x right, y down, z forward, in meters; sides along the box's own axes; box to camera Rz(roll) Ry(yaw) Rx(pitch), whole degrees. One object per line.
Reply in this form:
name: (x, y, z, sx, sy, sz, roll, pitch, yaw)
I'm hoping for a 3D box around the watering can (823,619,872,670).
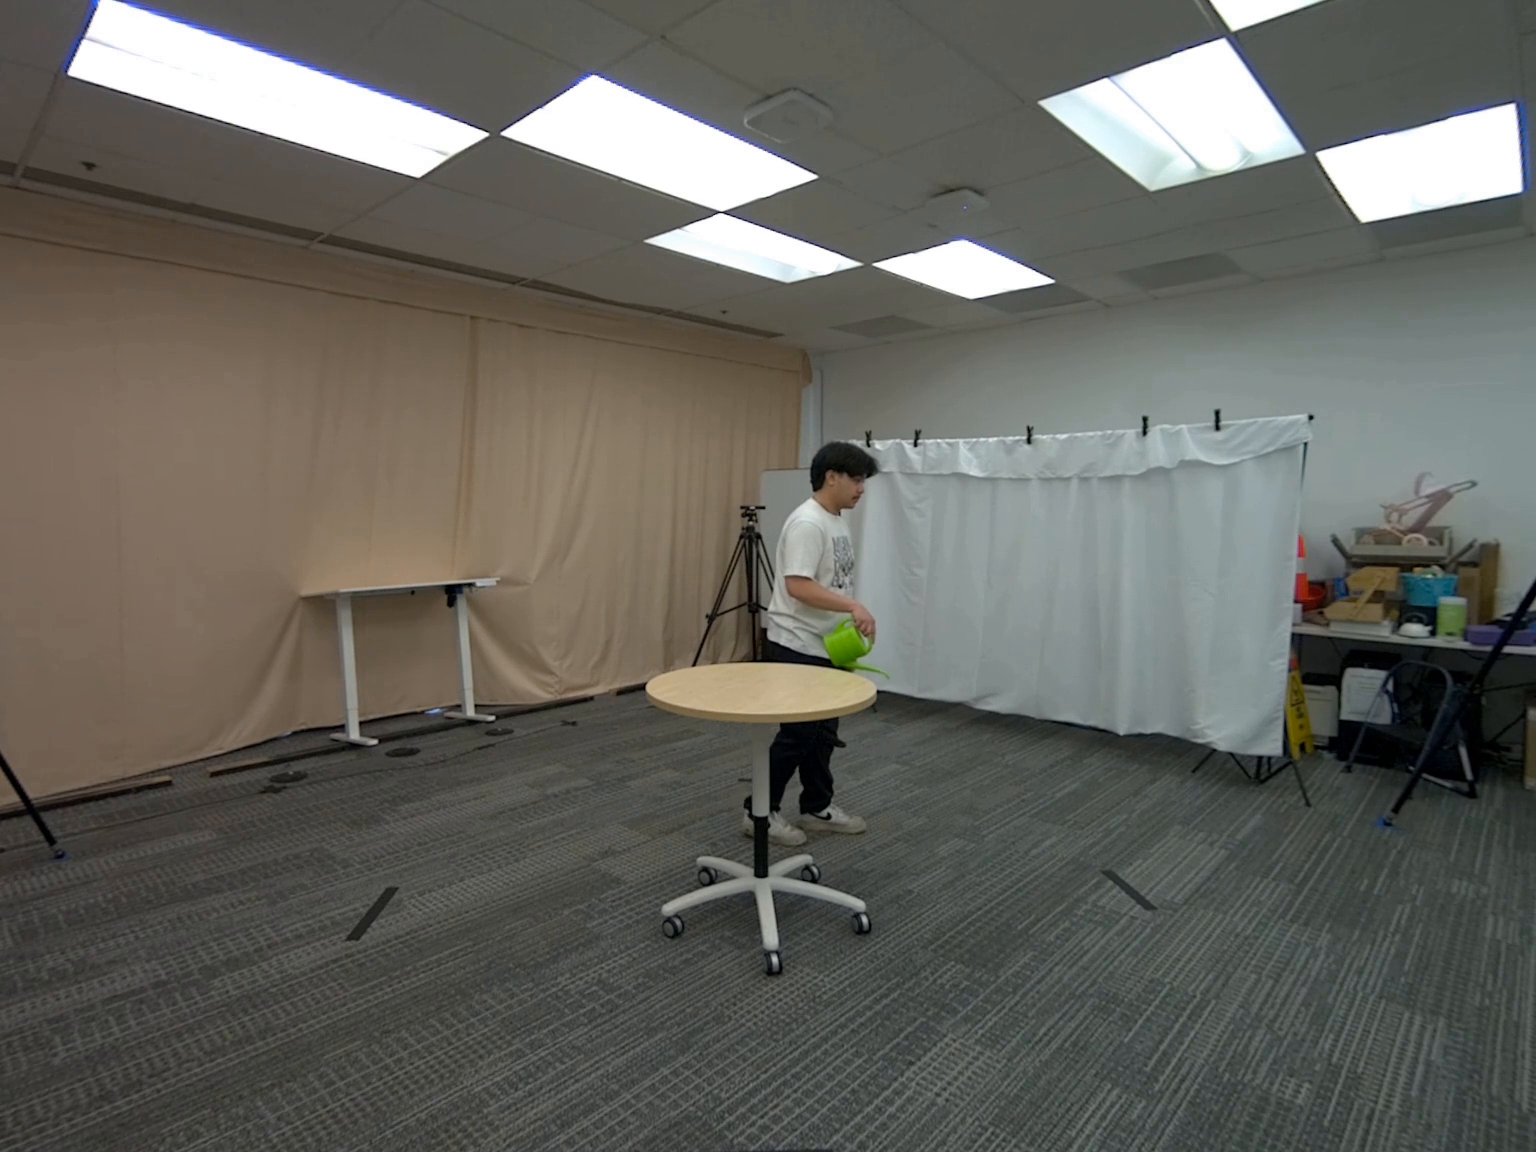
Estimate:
watering can: (0.337, 0.301, 3.279, 0.179, 0.282, 0.096, -26, -13, 16)
